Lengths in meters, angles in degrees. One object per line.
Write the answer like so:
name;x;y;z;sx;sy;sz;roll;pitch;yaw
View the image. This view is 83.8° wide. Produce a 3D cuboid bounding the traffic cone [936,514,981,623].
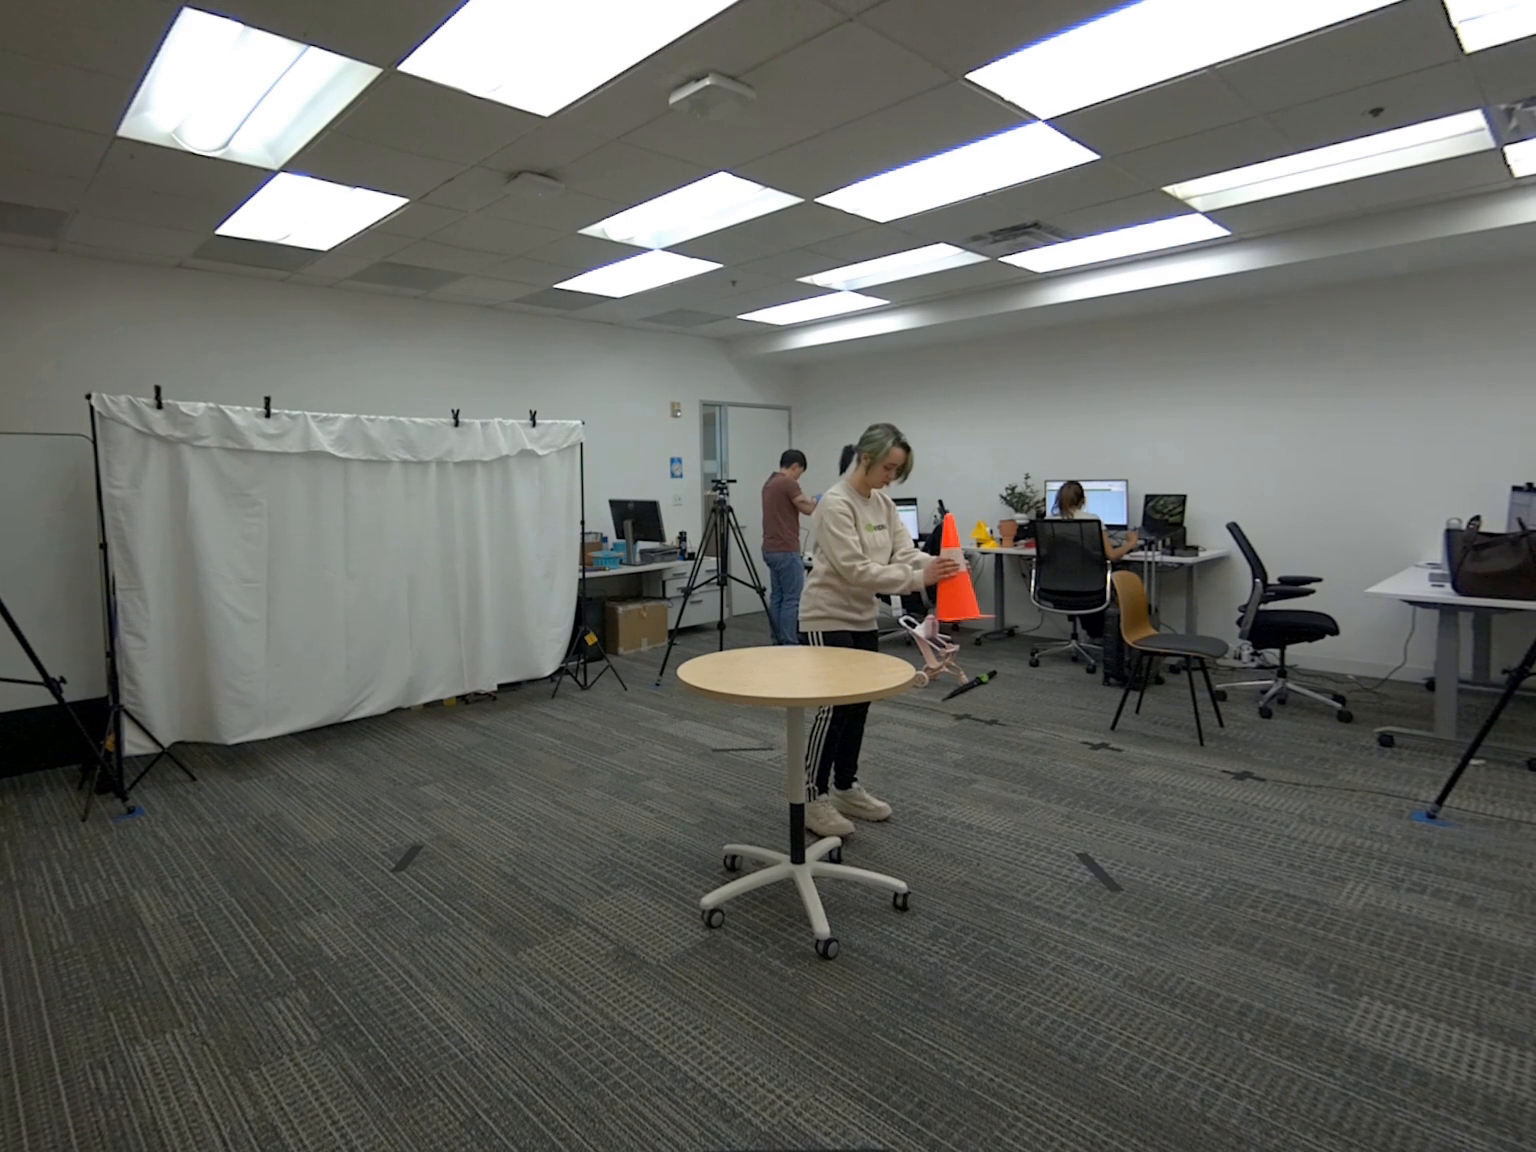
traffic cone;0.692;-0.032;3.145;0.202;0.385;0.205;-6;-3;-7
